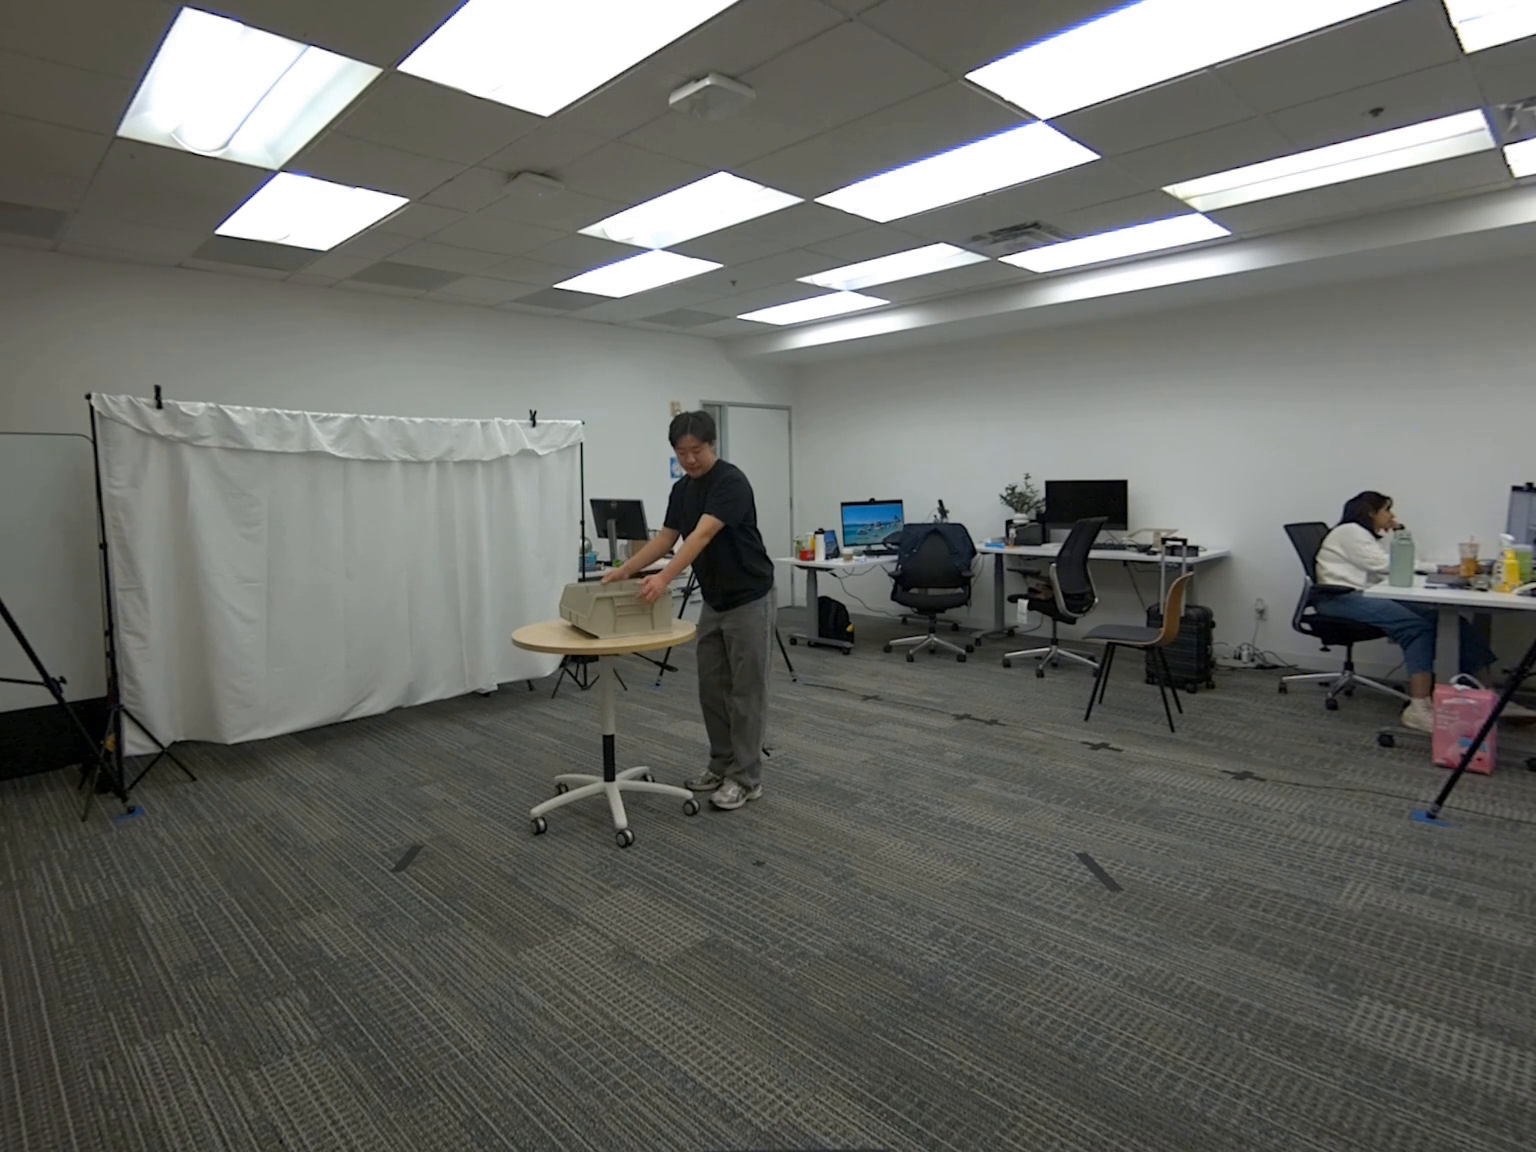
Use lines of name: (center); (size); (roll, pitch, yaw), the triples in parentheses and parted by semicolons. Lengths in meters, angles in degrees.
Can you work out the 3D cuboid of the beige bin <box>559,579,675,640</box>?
beige bin: (-0.636, 0.132, 3.591); (0.369, 0.188, 0.433); (-3, 6, -26)
